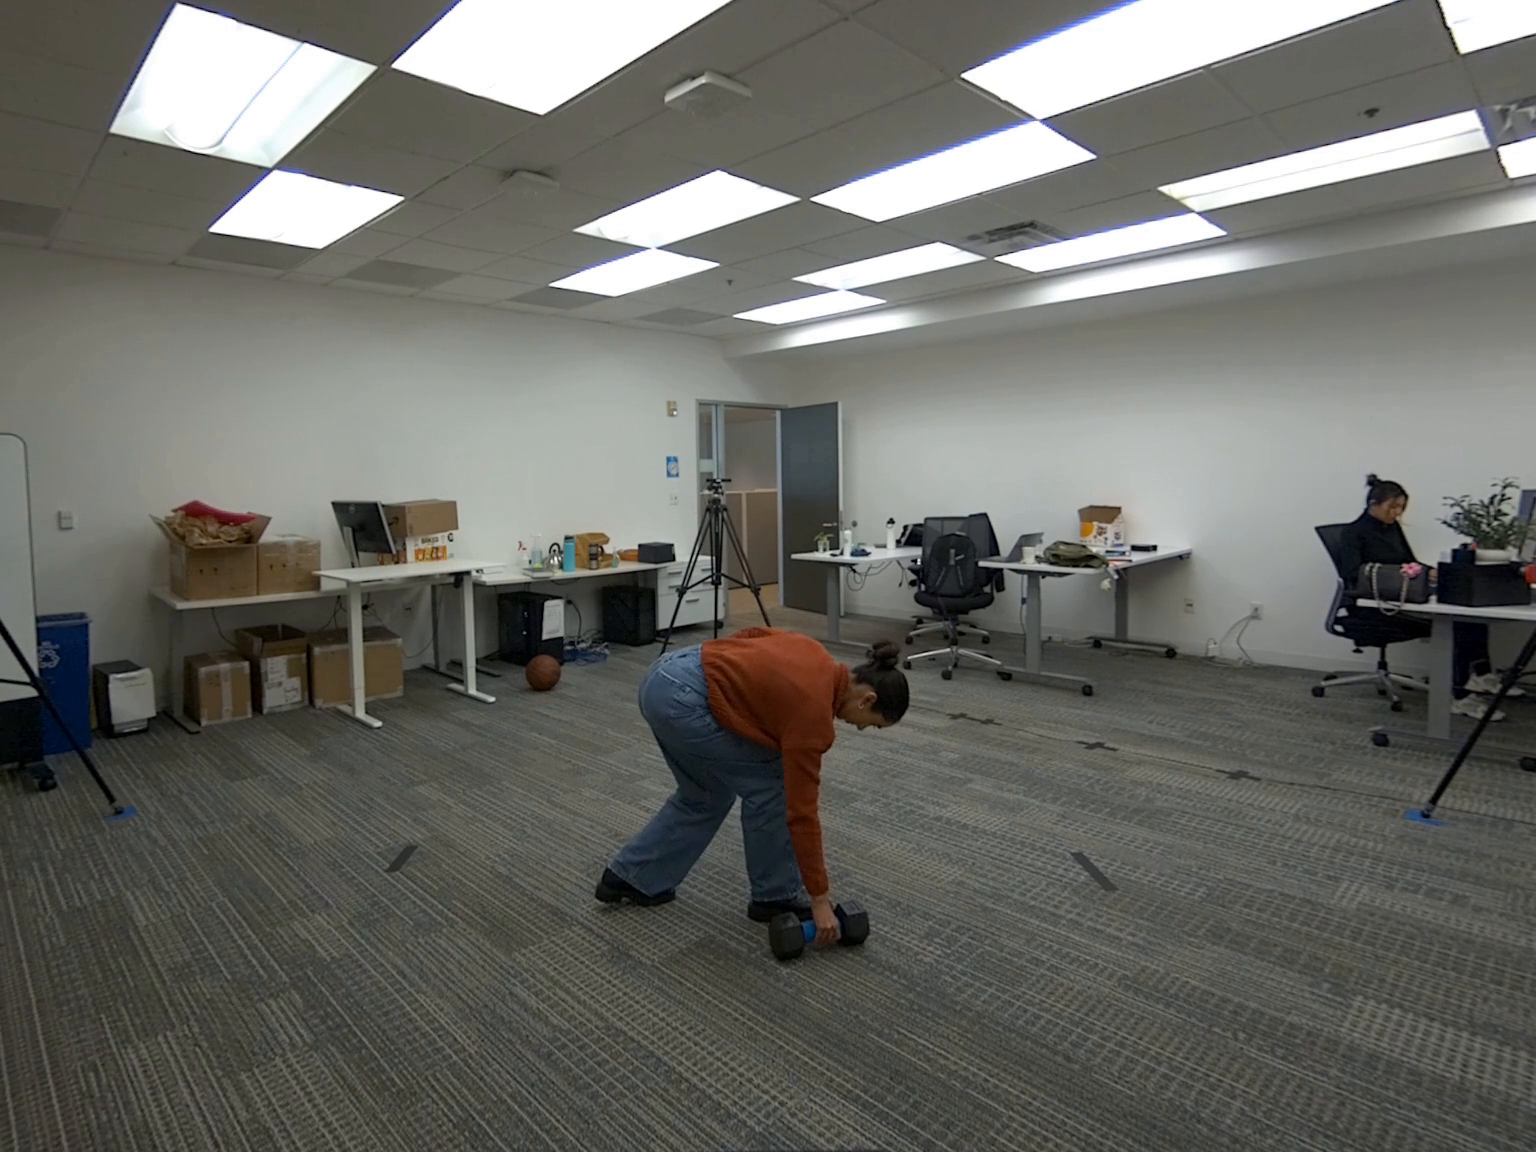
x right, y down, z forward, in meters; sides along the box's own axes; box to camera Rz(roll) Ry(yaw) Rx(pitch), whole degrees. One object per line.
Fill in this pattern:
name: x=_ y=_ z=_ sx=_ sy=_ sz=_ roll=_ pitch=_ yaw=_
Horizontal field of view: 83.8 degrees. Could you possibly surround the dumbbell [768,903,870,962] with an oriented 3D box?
dumbbell: x=0.156 y=1.051 z=2.535 sx=0.289 sy=0.125 sz=0.108 roll=-1 pitch=-19 yaw=-18
